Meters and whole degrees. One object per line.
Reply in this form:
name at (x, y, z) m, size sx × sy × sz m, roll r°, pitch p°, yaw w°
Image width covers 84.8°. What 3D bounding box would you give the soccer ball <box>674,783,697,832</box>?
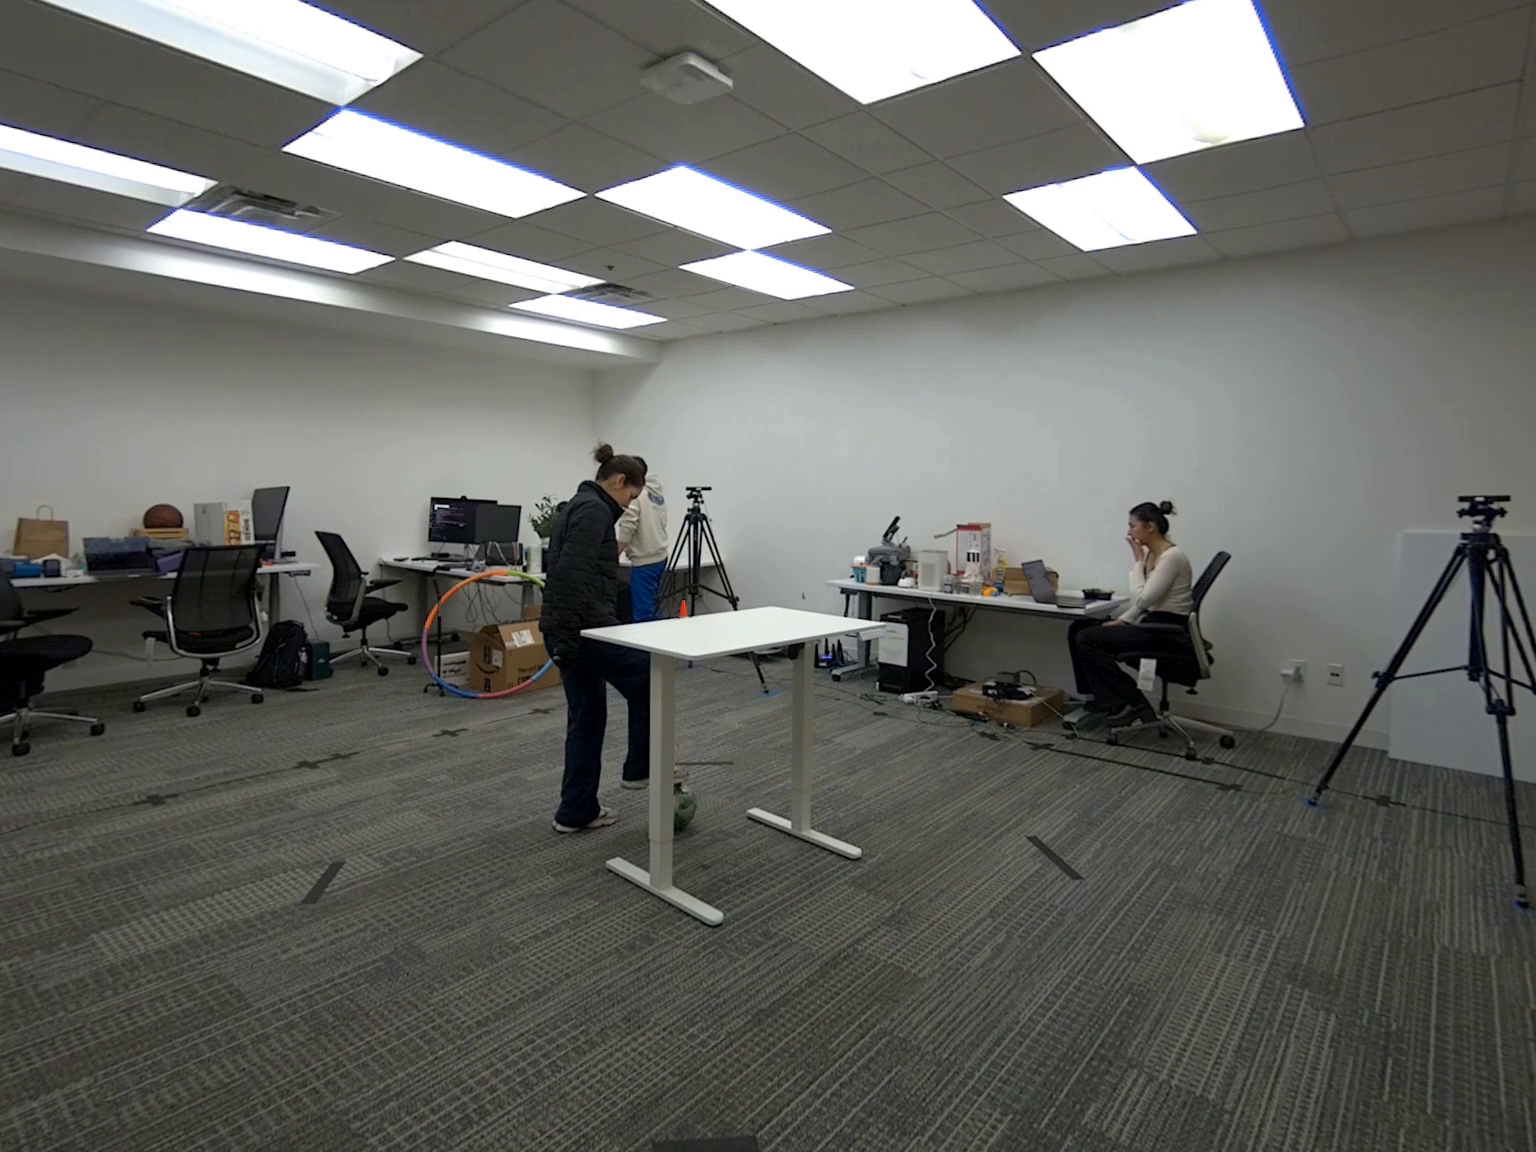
soccer ball at (-0.387, 0.936, 3.487) m, size 0.187 × 0.187 × 0.188 m, roll 1°, pitch 4°, yaw -2°
